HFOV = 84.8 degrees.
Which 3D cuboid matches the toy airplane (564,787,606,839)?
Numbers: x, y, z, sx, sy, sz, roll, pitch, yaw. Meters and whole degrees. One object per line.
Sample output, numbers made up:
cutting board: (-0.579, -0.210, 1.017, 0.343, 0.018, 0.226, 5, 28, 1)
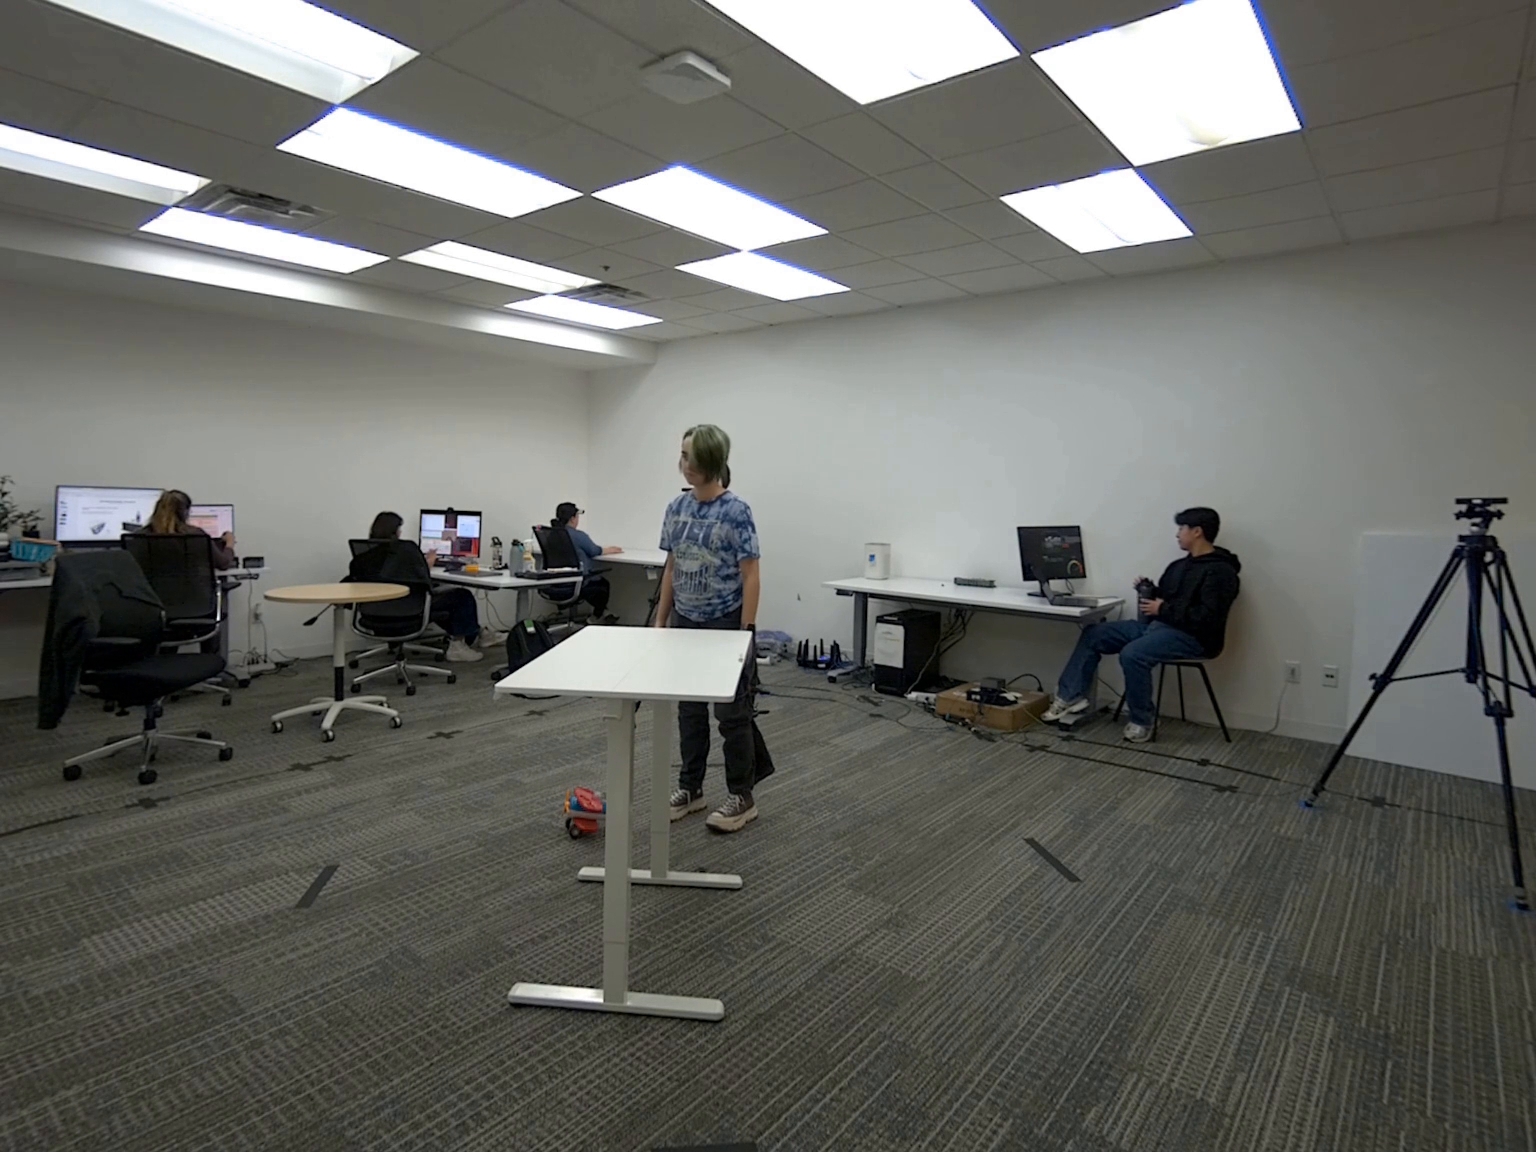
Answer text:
toy airplane: (-0.719, 0.957, 3.451, 0.259, 0.156, 0.251, 5, 6, 41)
